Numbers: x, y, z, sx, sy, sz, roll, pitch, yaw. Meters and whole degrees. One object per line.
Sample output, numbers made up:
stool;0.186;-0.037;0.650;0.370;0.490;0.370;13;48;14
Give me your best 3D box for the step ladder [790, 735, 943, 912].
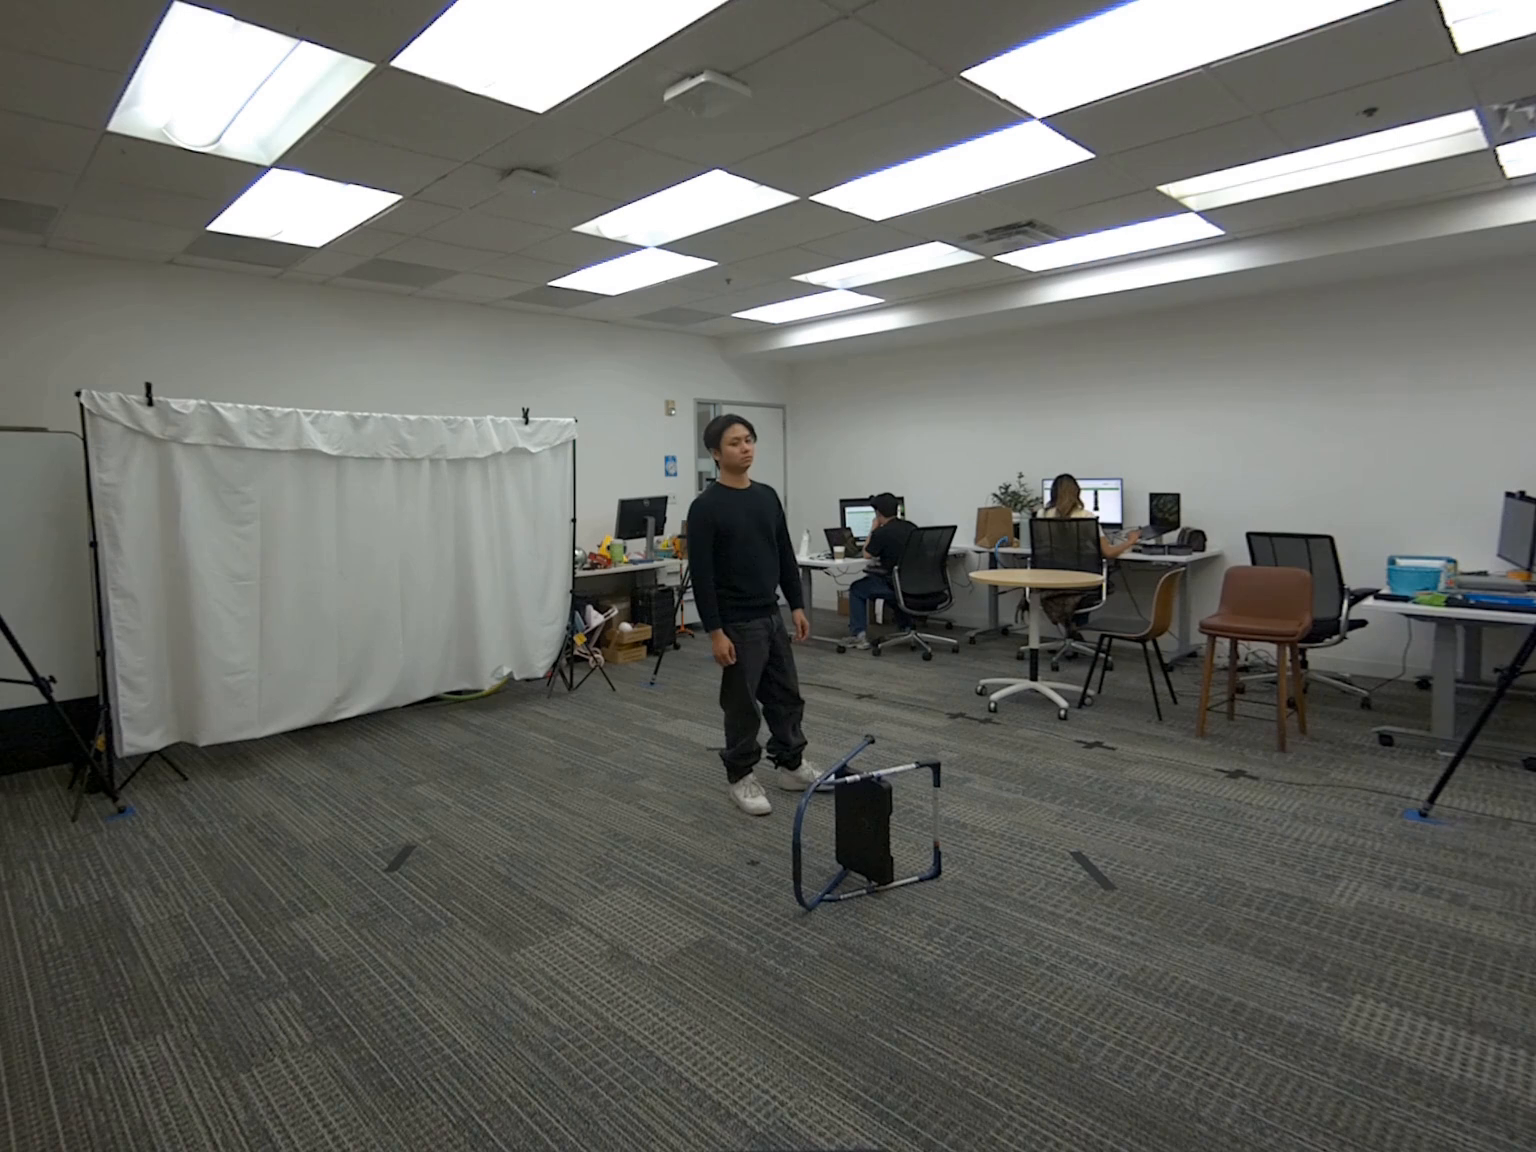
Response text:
step ladder;0.271;0.856;2.905;0.591;0.428;0.360;-7;7;-39
